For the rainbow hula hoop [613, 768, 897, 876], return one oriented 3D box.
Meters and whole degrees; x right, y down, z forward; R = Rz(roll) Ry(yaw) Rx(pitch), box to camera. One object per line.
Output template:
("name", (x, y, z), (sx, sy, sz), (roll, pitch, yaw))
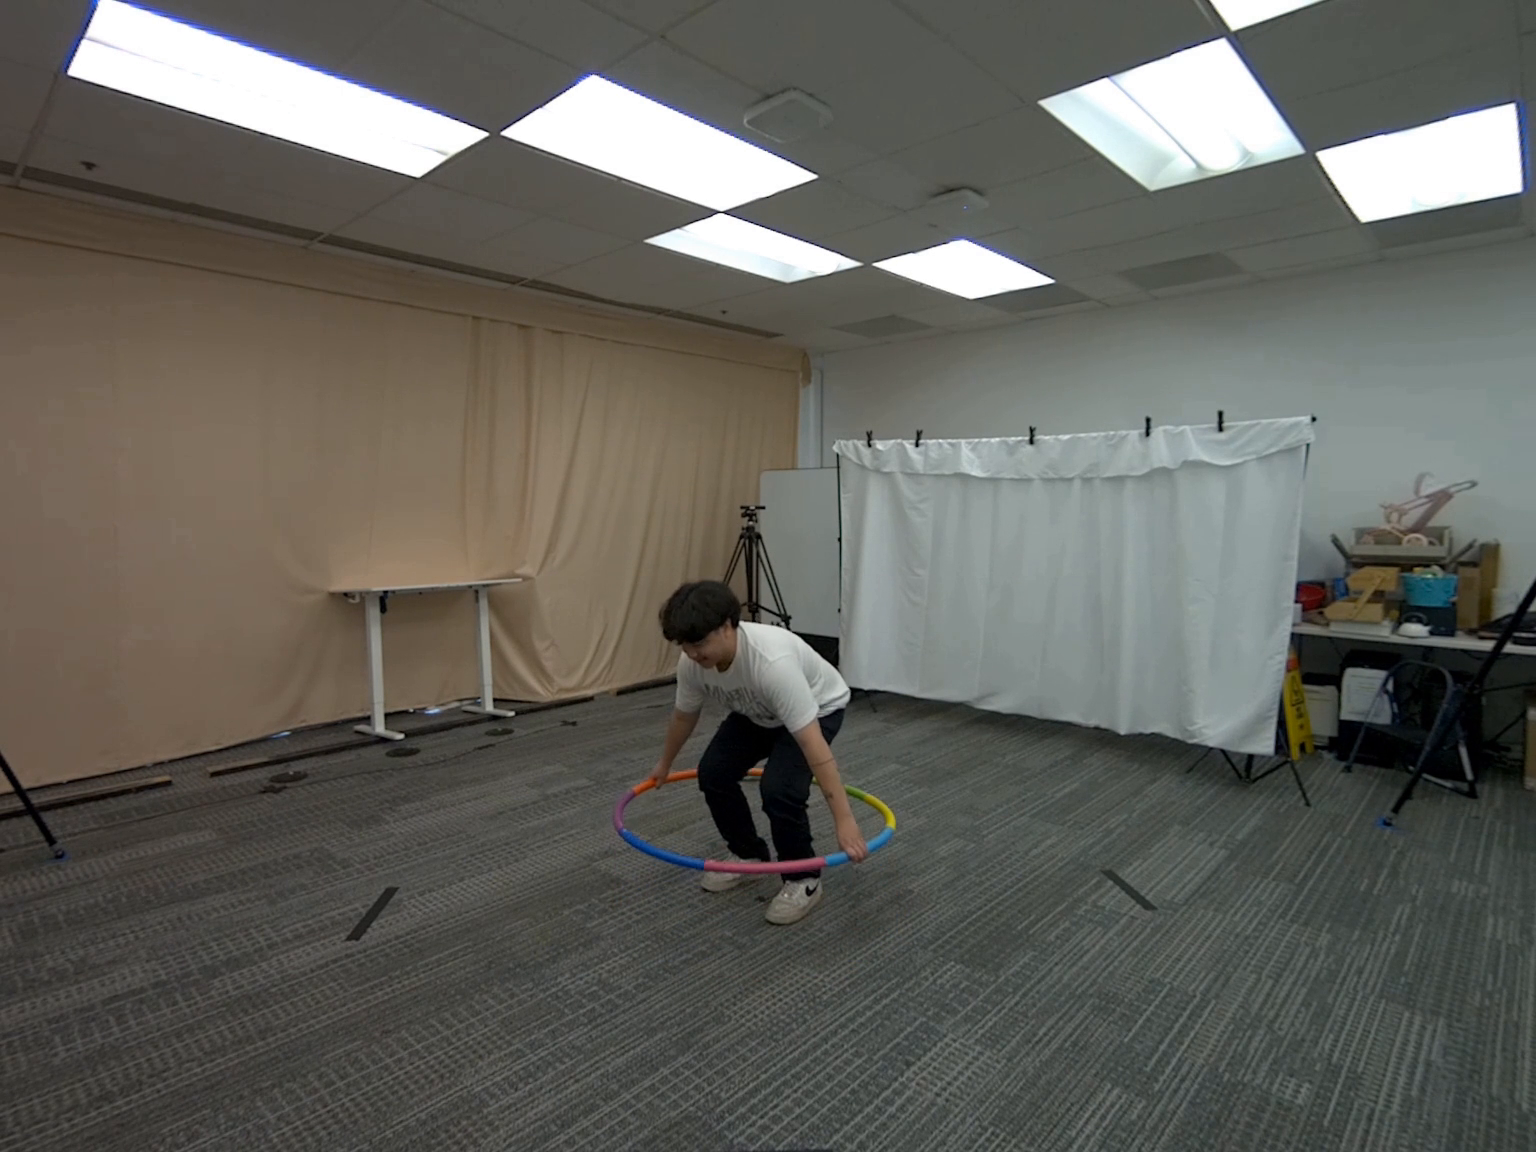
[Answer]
("rainbow hula hoop", (-0.043, 0.831, 2.967), (0.984, 0.051, 0.988), (2, 3, -2))
